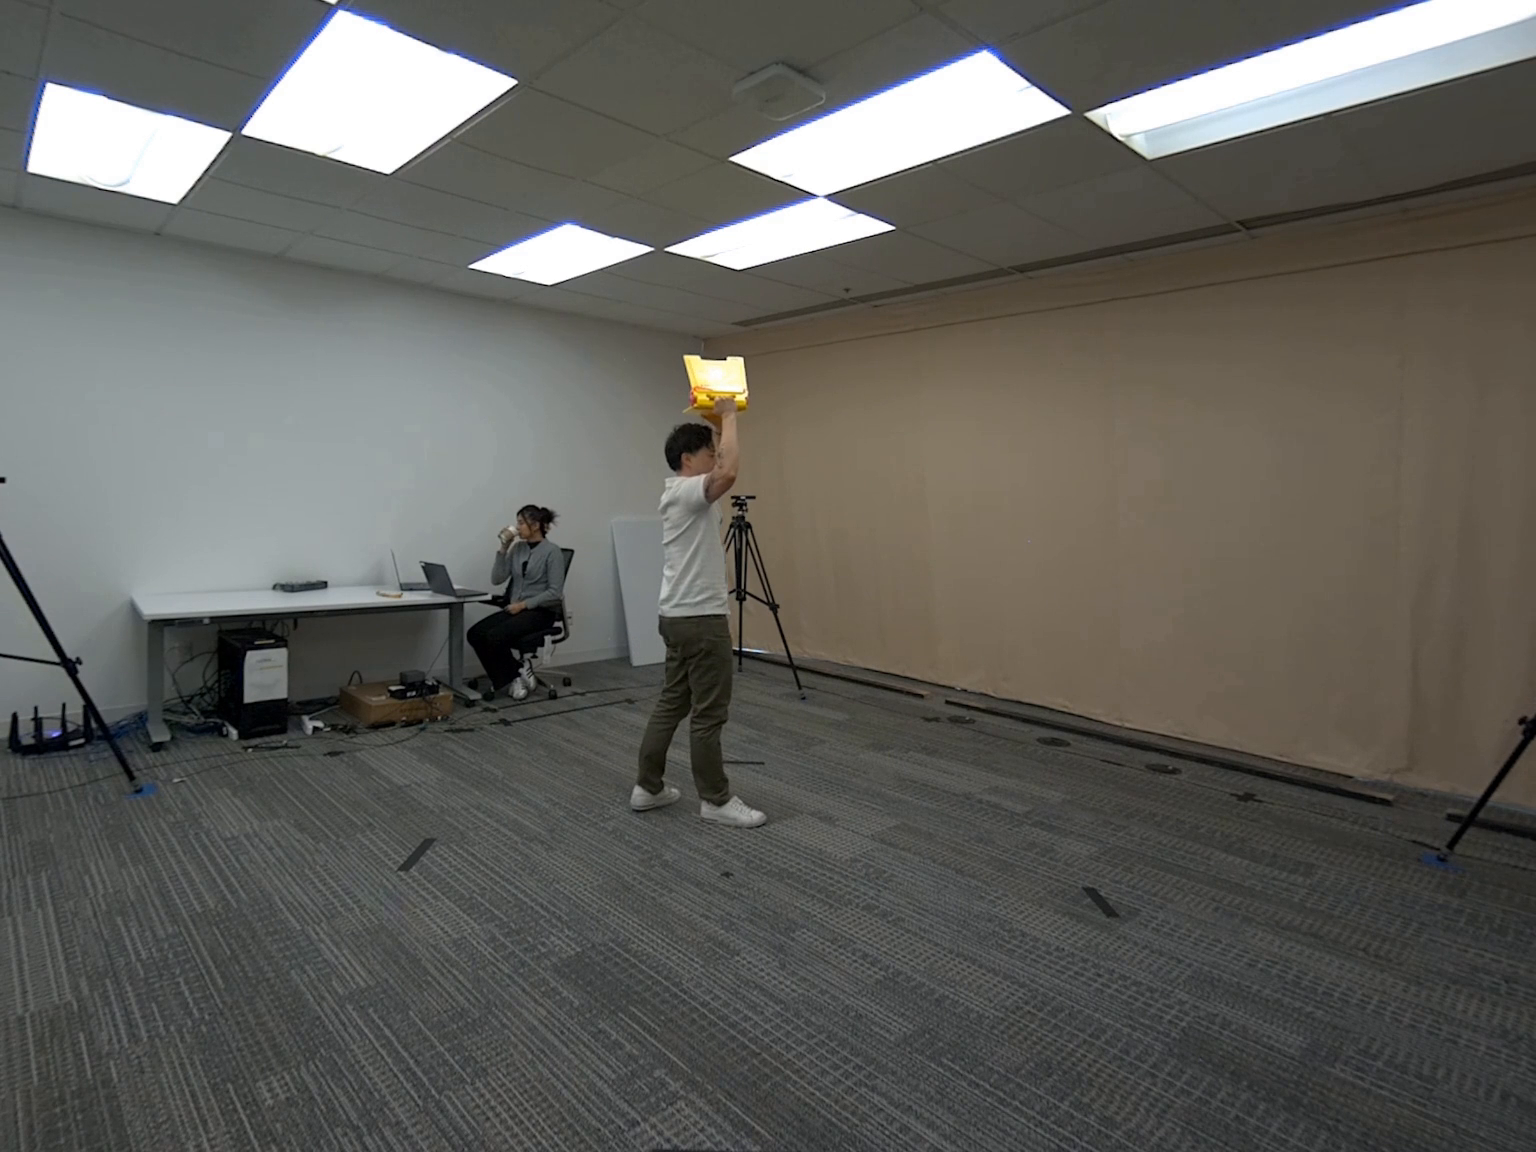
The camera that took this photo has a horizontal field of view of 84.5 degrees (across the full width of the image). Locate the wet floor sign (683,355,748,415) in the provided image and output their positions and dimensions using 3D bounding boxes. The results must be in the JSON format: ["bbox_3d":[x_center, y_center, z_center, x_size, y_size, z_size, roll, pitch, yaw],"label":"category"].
[{"bbox_3d":[-0.230,-0.798,3.683,0.281,0.286,0.656,1,18,-6],"label":"wet floor sign"}]
